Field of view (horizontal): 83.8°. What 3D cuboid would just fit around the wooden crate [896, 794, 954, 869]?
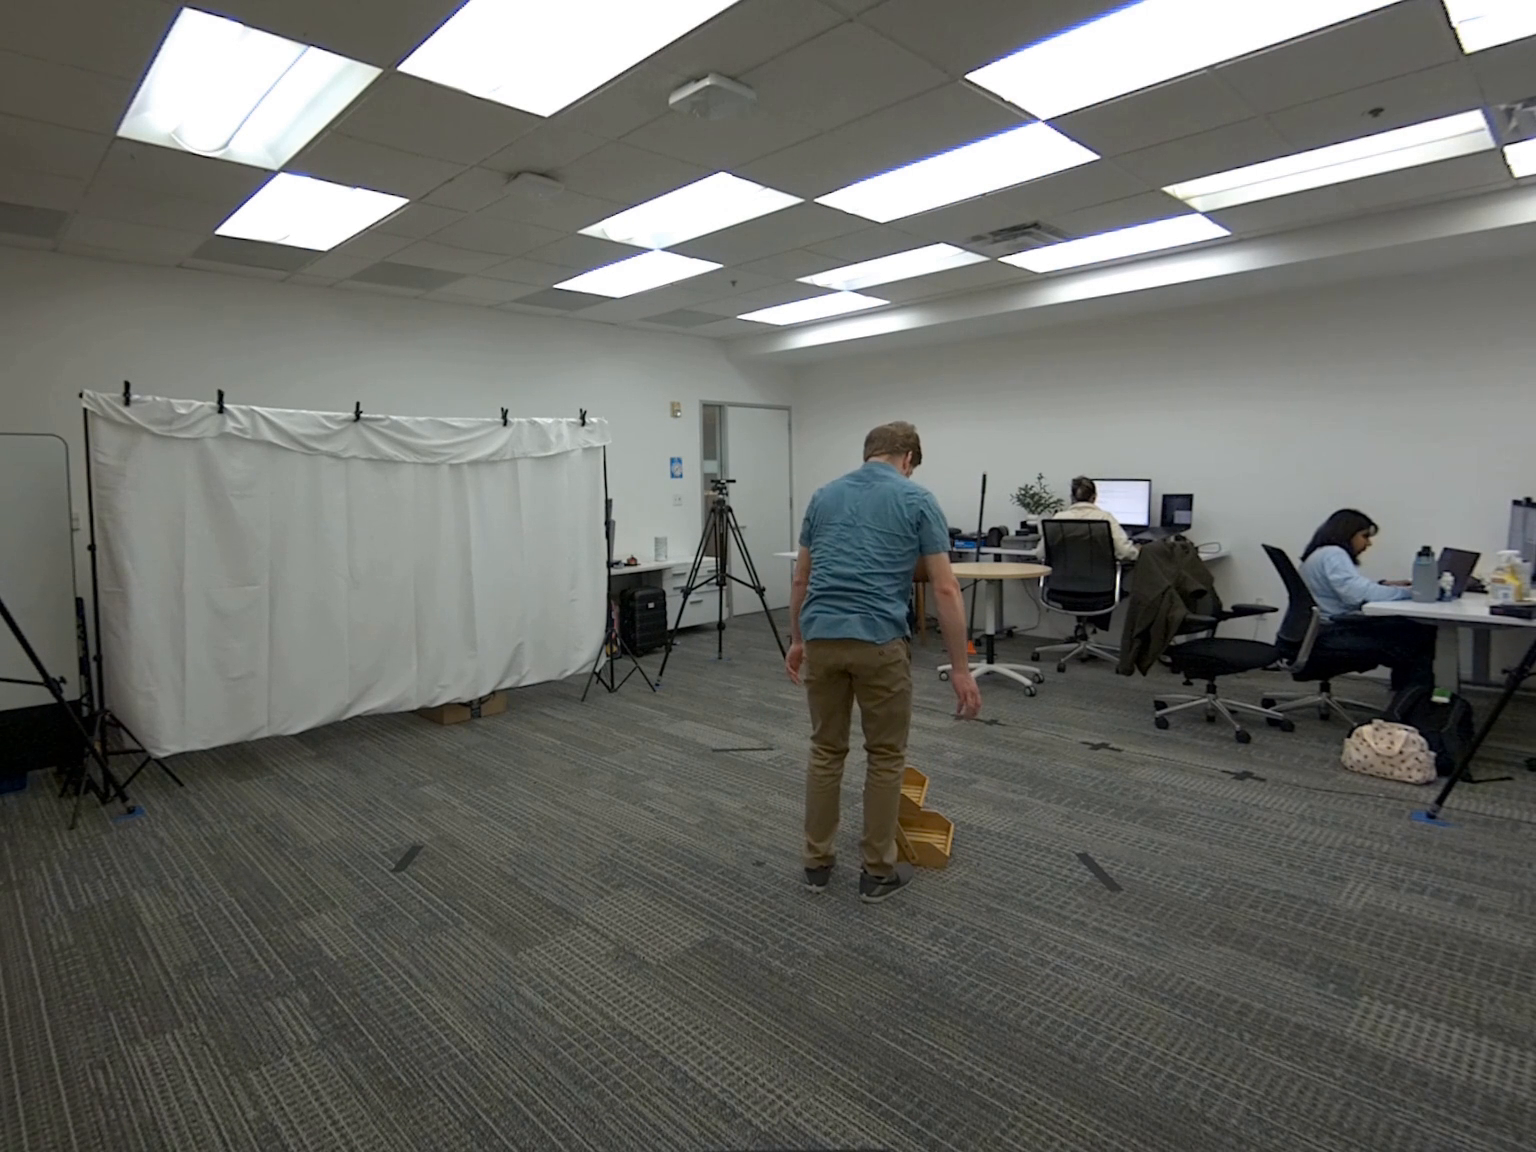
[{"bbox_3d":[0.545,0.893,3.221,0.307,0.272,0.320,0,5,17],"label":"wooden crate"}]
